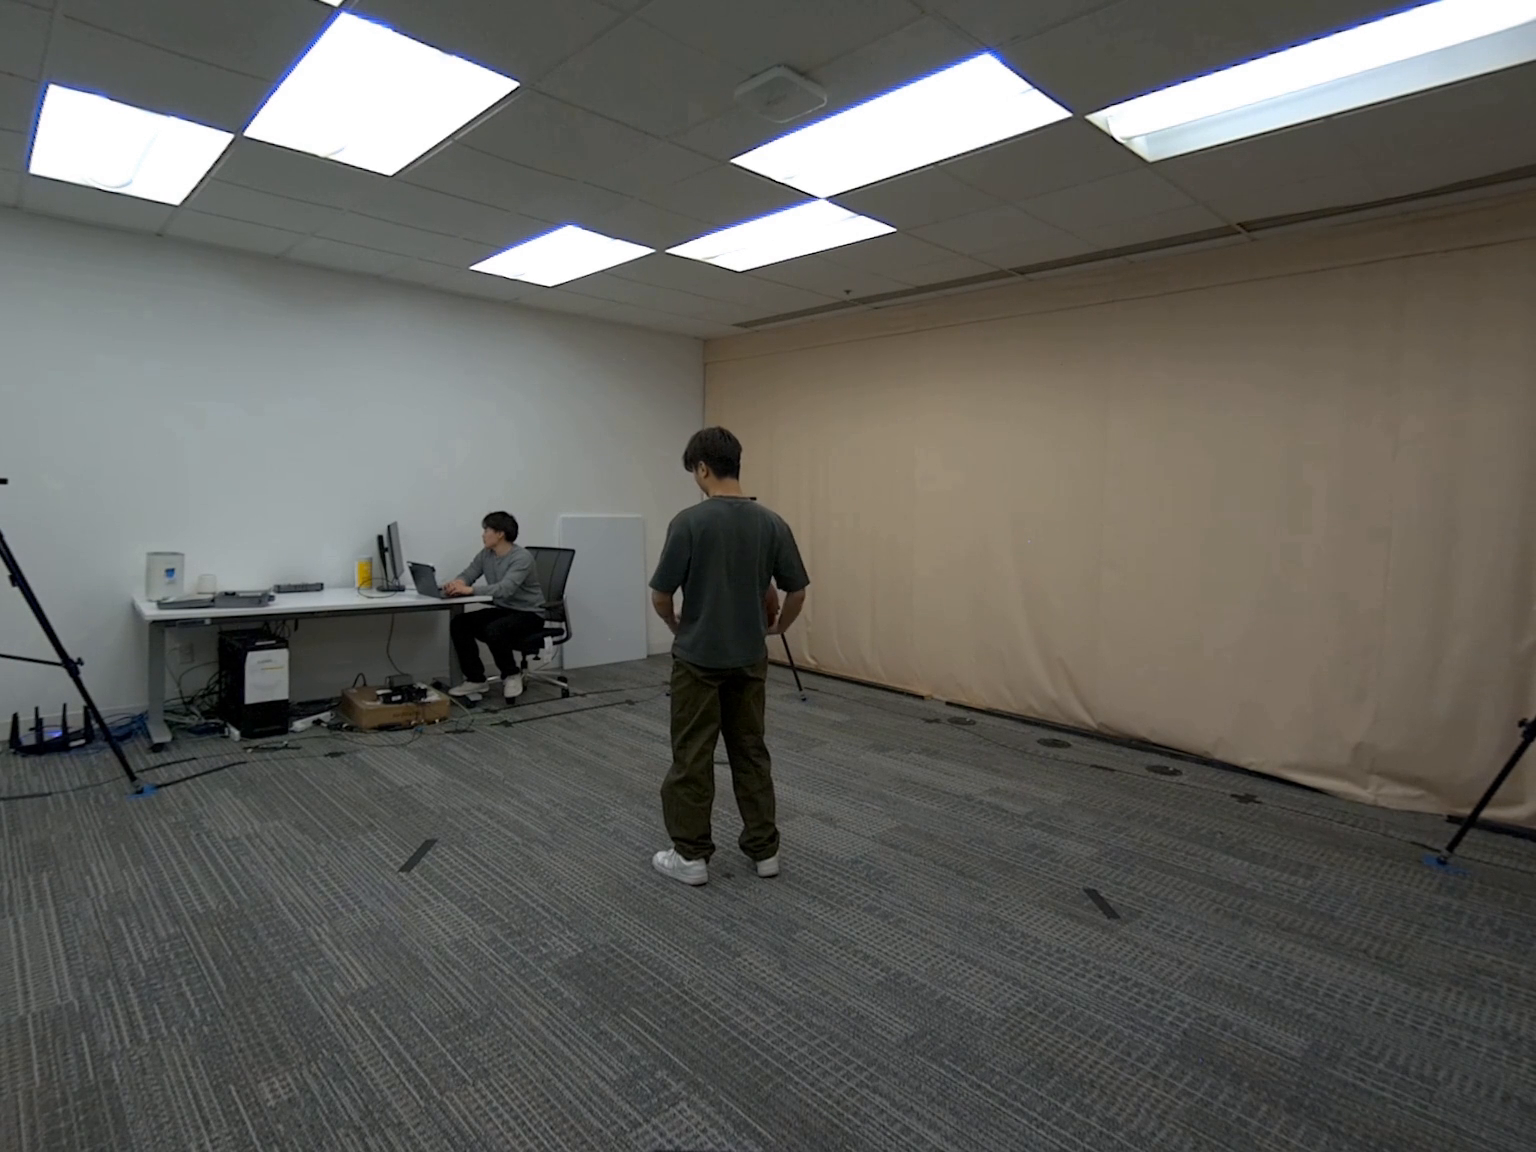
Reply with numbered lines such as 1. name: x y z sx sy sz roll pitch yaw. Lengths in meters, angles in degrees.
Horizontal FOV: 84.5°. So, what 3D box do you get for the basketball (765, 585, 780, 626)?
1. basketball: -0.079 0.109 3.400 0.236 0.235 0.237 1 4 -1
